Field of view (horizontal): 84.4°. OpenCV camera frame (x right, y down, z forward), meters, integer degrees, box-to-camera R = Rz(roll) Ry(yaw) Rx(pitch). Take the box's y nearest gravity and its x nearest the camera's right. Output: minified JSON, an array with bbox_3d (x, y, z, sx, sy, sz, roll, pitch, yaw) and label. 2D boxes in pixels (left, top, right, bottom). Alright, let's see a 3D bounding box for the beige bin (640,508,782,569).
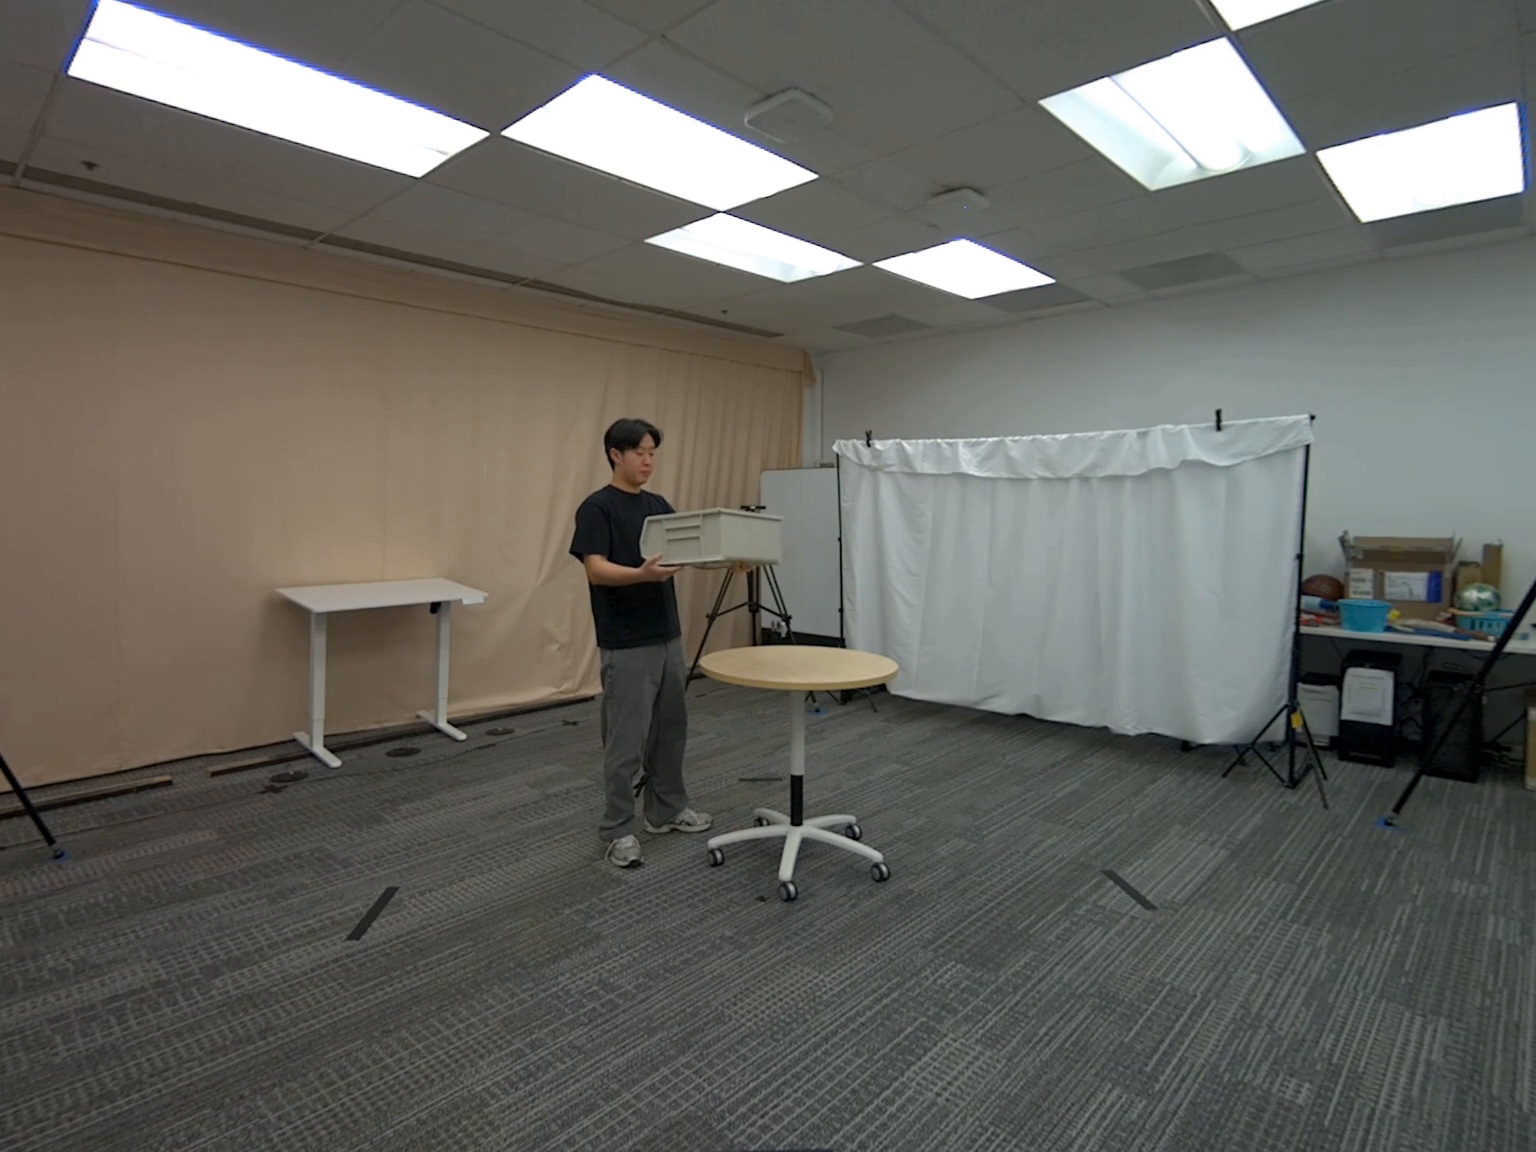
[{"bbox_3d":[-0.201,-0.128,3.161,0.388,0.189,0.409,-2,-3,35],"label":"beige bin"}]
